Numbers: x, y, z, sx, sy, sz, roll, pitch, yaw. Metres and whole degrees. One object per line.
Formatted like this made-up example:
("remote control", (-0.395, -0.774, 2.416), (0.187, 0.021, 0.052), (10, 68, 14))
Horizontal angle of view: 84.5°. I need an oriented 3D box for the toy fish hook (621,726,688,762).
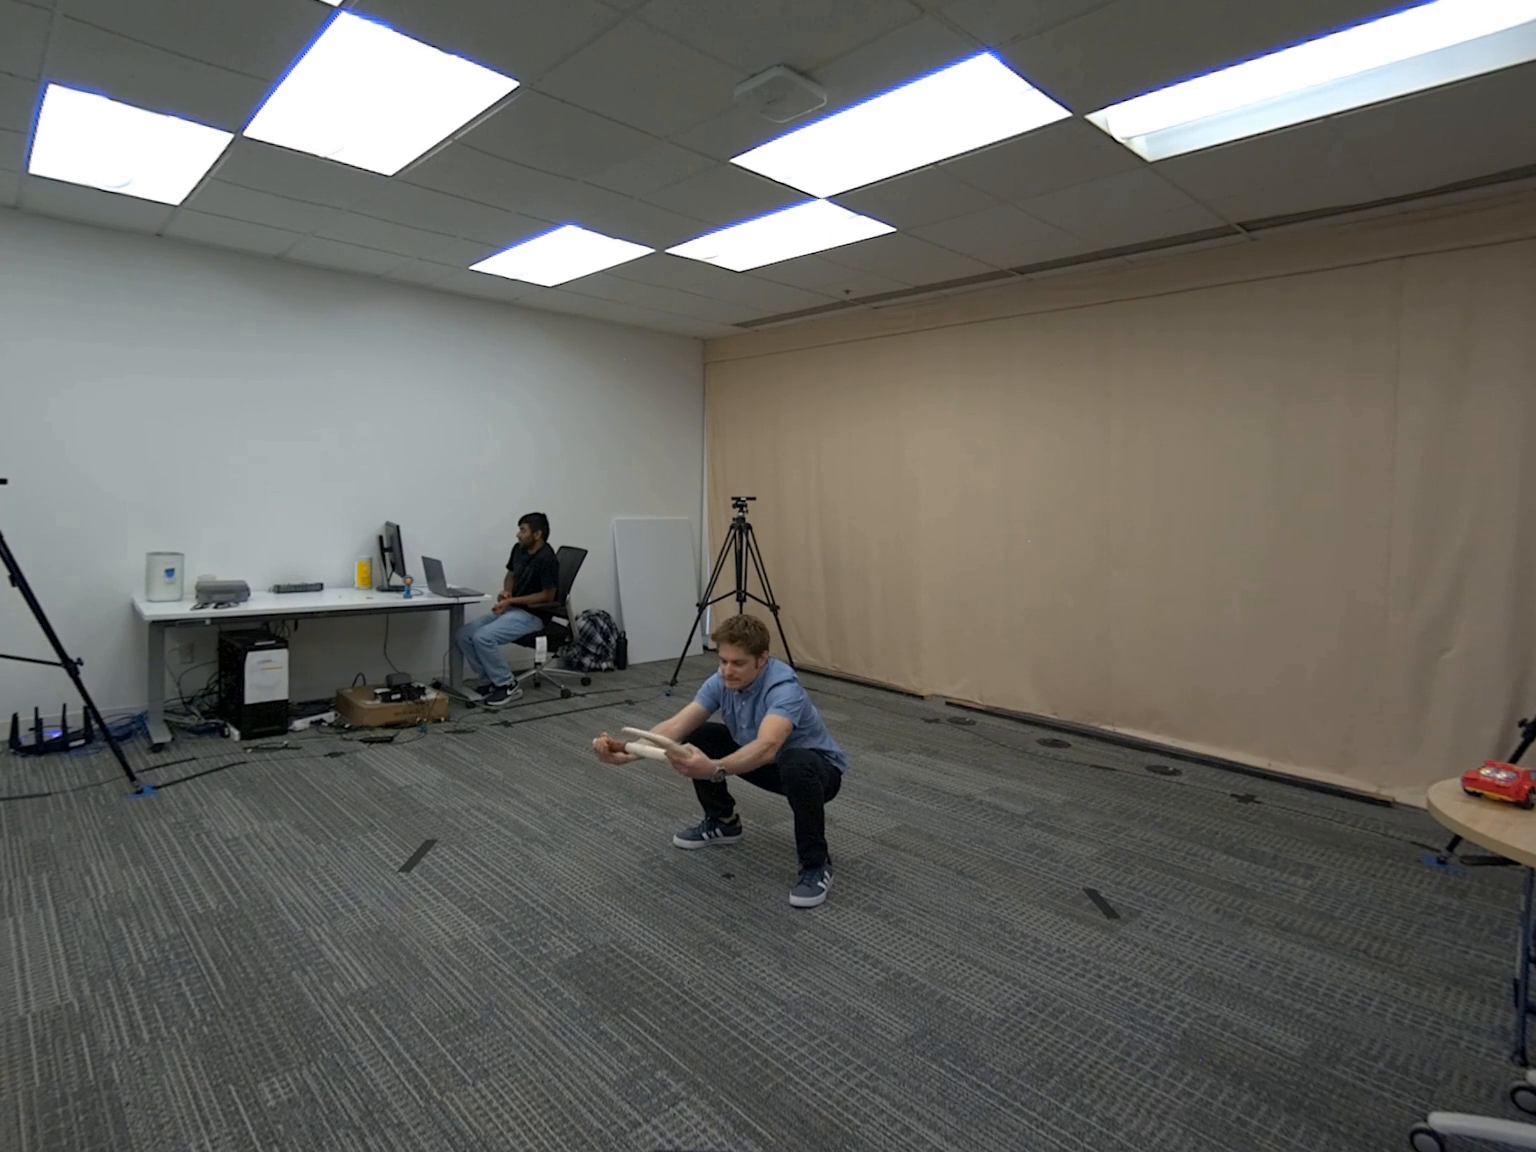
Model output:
("toy fish hook", (-0.454, 0.540, 2.743), (0.517, 0.048, 0.218), (-5, -44, 44))
